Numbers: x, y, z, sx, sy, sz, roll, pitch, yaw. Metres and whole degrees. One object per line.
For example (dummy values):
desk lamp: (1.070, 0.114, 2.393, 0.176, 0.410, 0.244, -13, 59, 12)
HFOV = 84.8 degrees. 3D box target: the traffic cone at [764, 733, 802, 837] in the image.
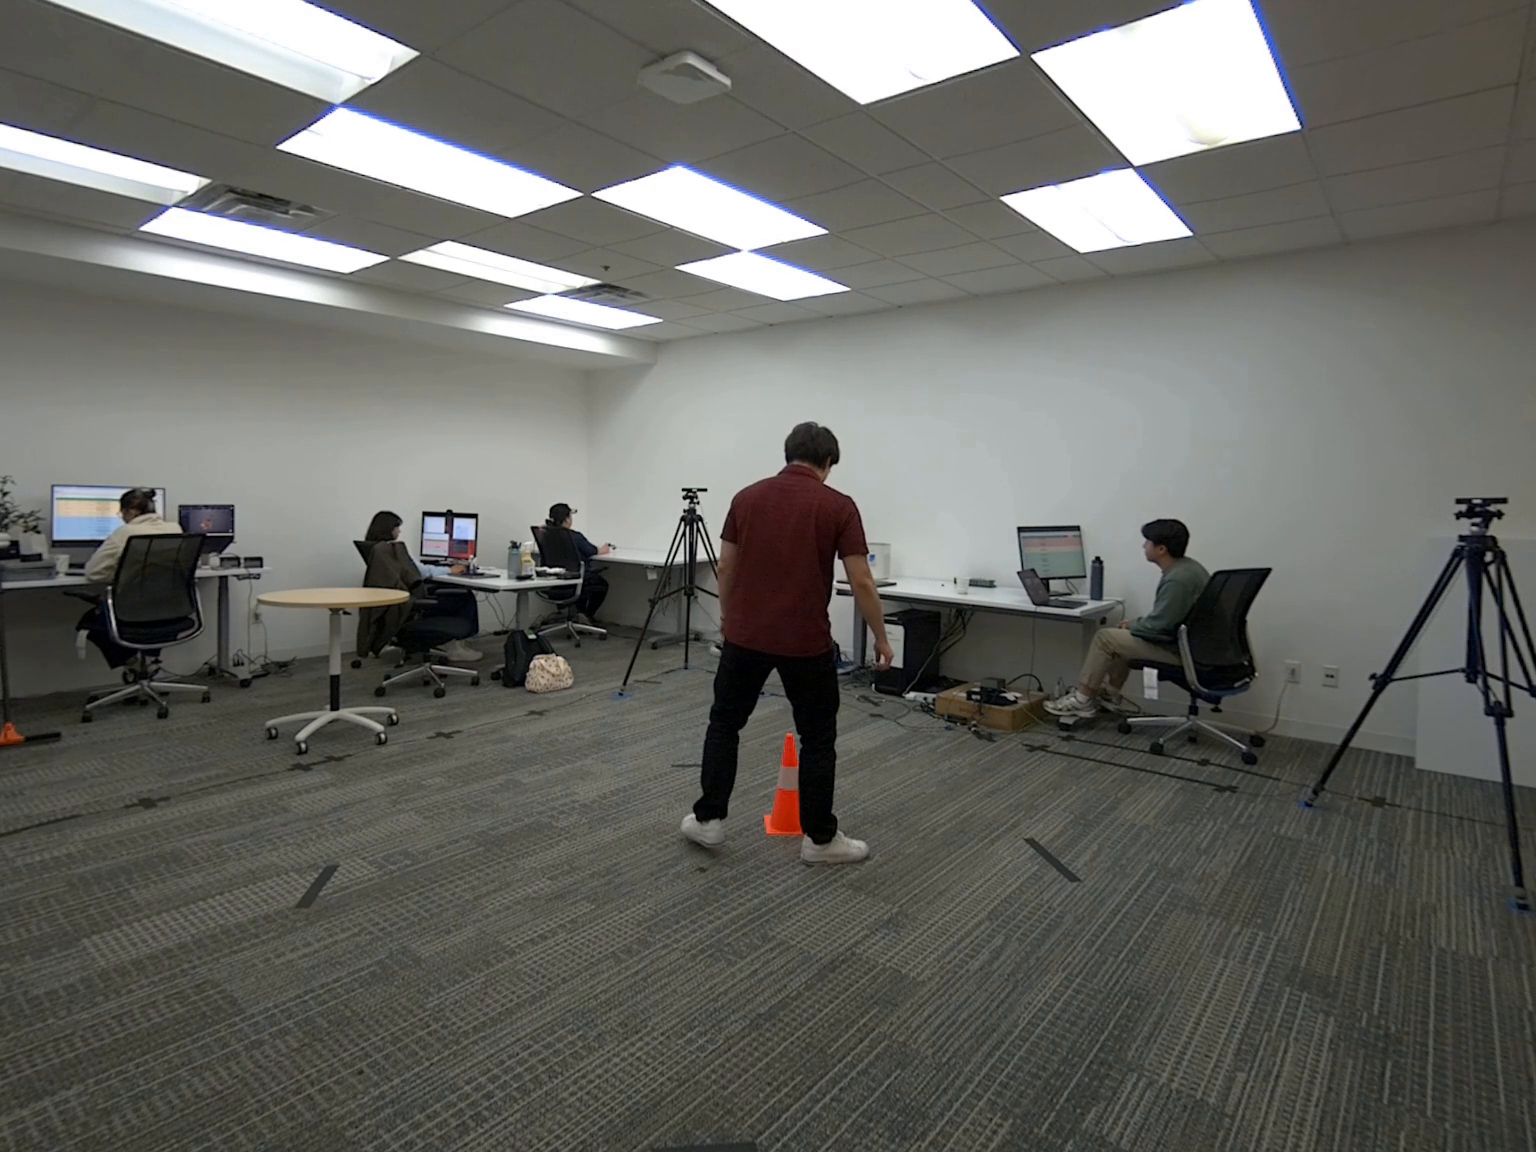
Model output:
traffic cone: (0.079, 0.846, 3.526, 0.203, 0.383, 0.206, 1, 3, -2)
